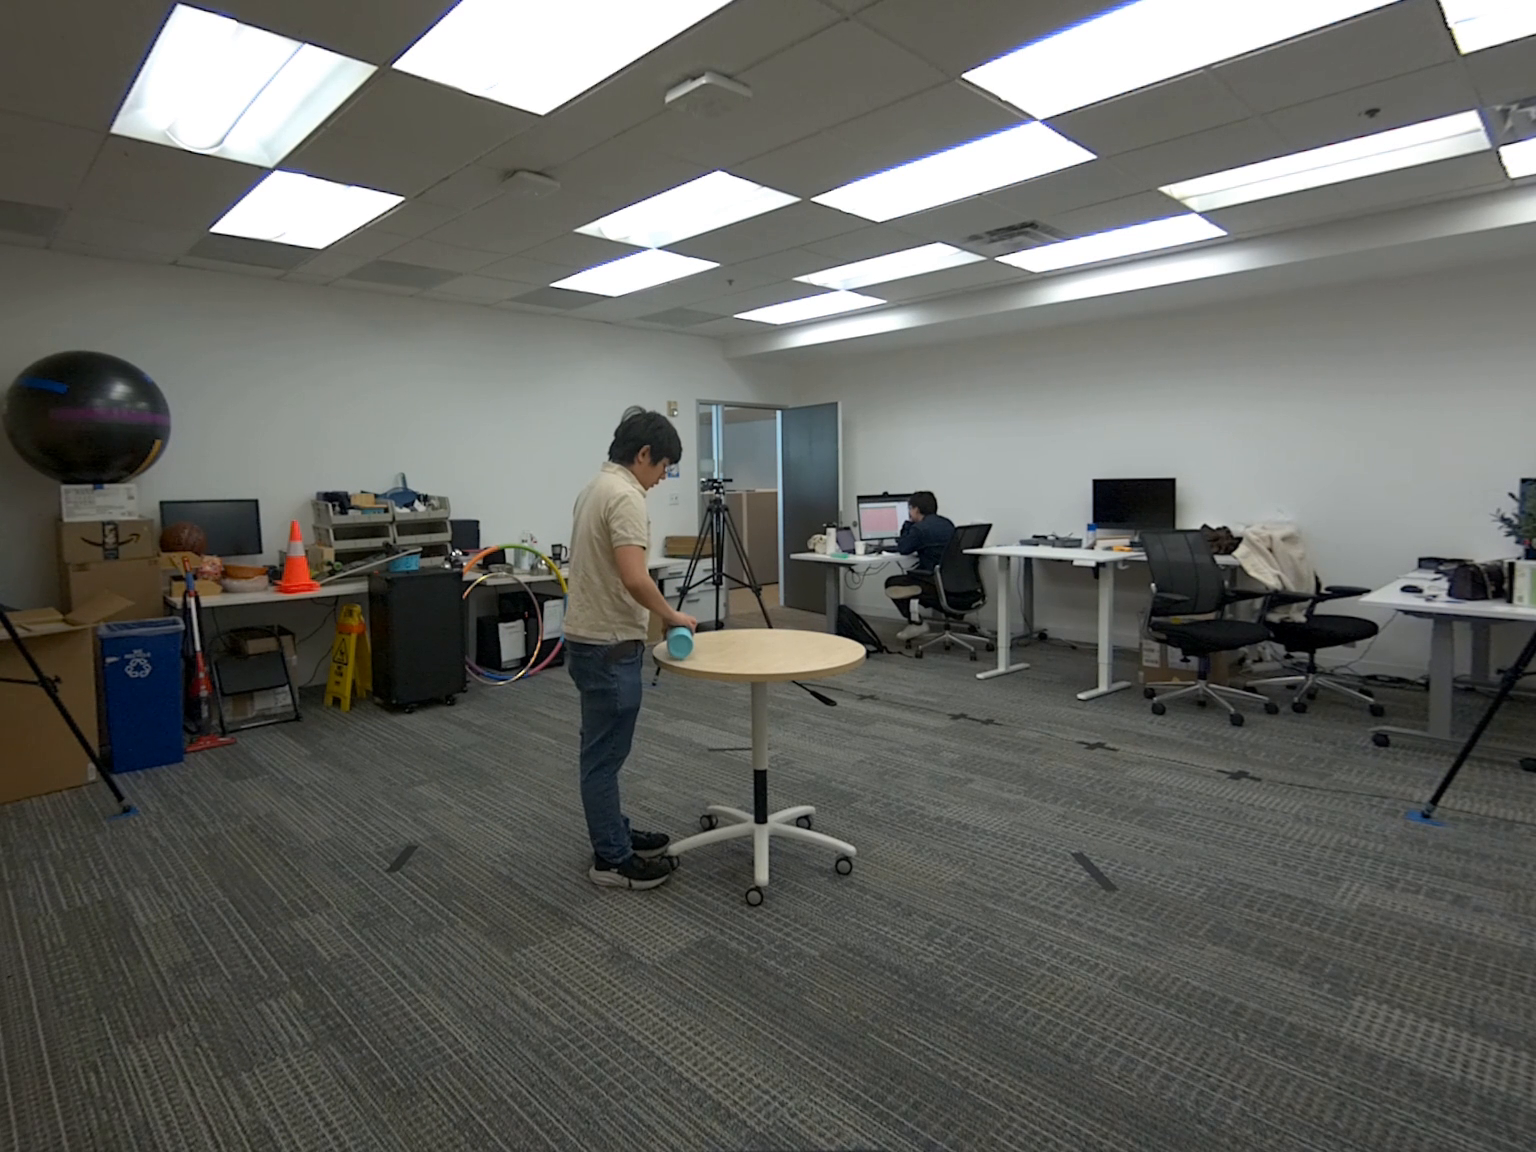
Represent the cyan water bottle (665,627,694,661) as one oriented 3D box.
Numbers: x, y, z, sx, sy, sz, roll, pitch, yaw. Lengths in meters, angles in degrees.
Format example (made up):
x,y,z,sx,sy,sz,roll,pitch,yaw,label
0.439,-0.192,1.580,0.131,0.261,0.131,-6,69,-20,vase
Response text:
x,y,z,sx,sy,sz,roll,pitch,yaw,label
-0.317,0.199,3.028,0.092,0.091,0.288,-2,14,-5,cyan water bottle
